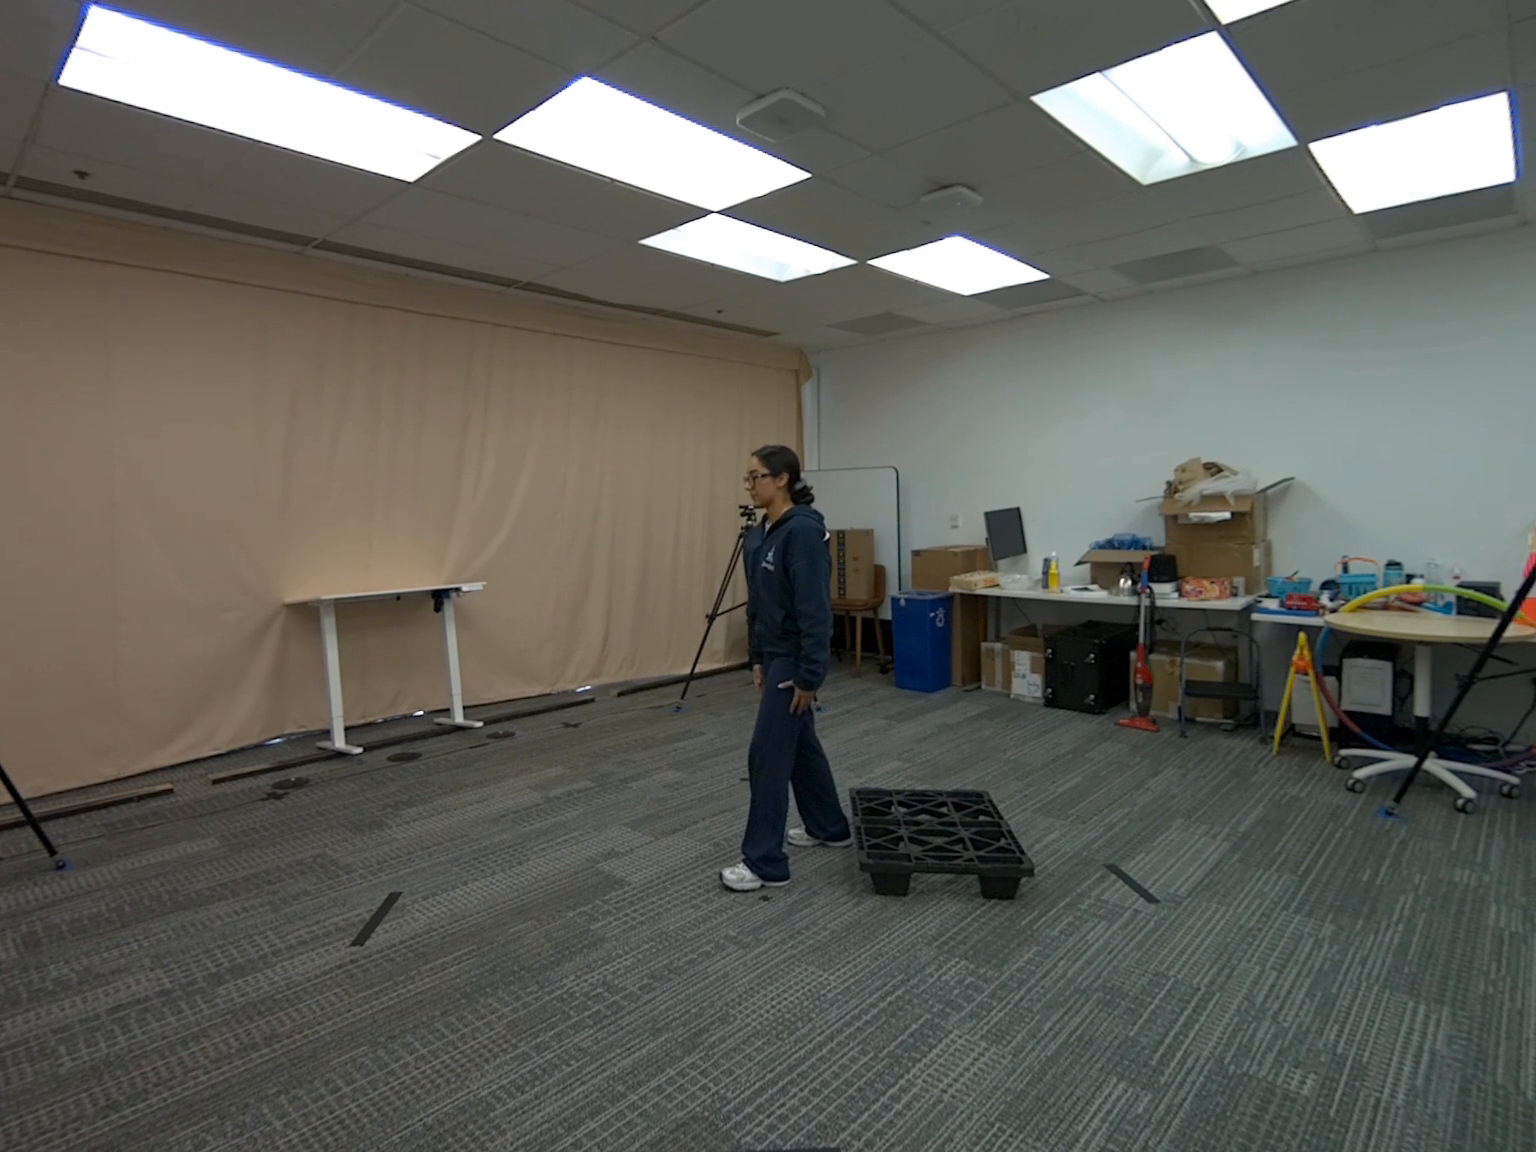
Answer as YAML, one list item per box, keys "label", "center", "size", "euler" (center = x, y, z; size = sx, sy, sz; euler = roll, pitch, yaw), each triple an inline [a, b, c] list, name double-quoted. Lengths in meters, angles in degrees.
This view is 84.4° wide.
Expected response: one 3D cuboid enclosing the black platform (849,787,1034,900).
- label: "black platform"
  center: [0.648, 1.035, 3.316]
  size: [0.608, 0.143, 0.803]
  euler: [0, 5, 4]
